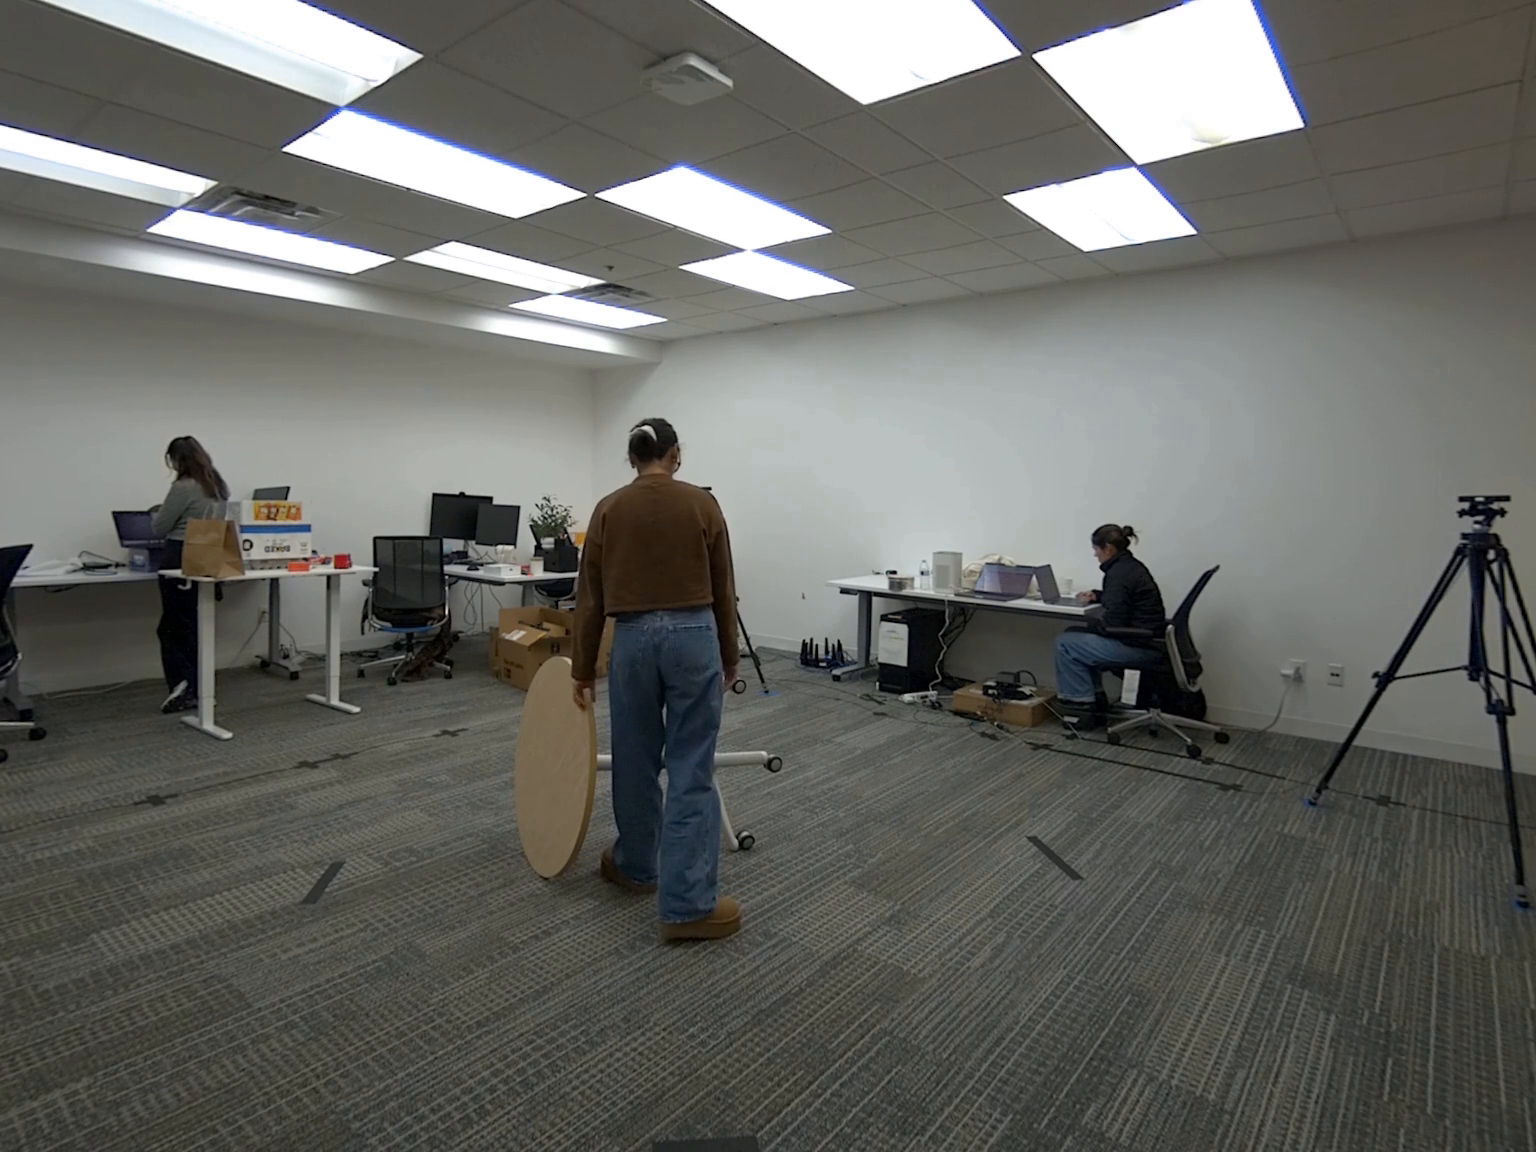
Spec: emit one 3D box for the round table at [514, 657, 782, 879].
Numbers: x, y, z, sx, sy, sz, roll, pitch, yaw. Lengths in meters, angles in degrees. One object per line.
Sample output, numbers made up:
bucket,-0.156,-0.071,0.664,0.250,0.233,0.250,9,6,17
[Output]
round table,-0.482,0.710,3.279,0.769,0.764,0.788,7,0,-32
